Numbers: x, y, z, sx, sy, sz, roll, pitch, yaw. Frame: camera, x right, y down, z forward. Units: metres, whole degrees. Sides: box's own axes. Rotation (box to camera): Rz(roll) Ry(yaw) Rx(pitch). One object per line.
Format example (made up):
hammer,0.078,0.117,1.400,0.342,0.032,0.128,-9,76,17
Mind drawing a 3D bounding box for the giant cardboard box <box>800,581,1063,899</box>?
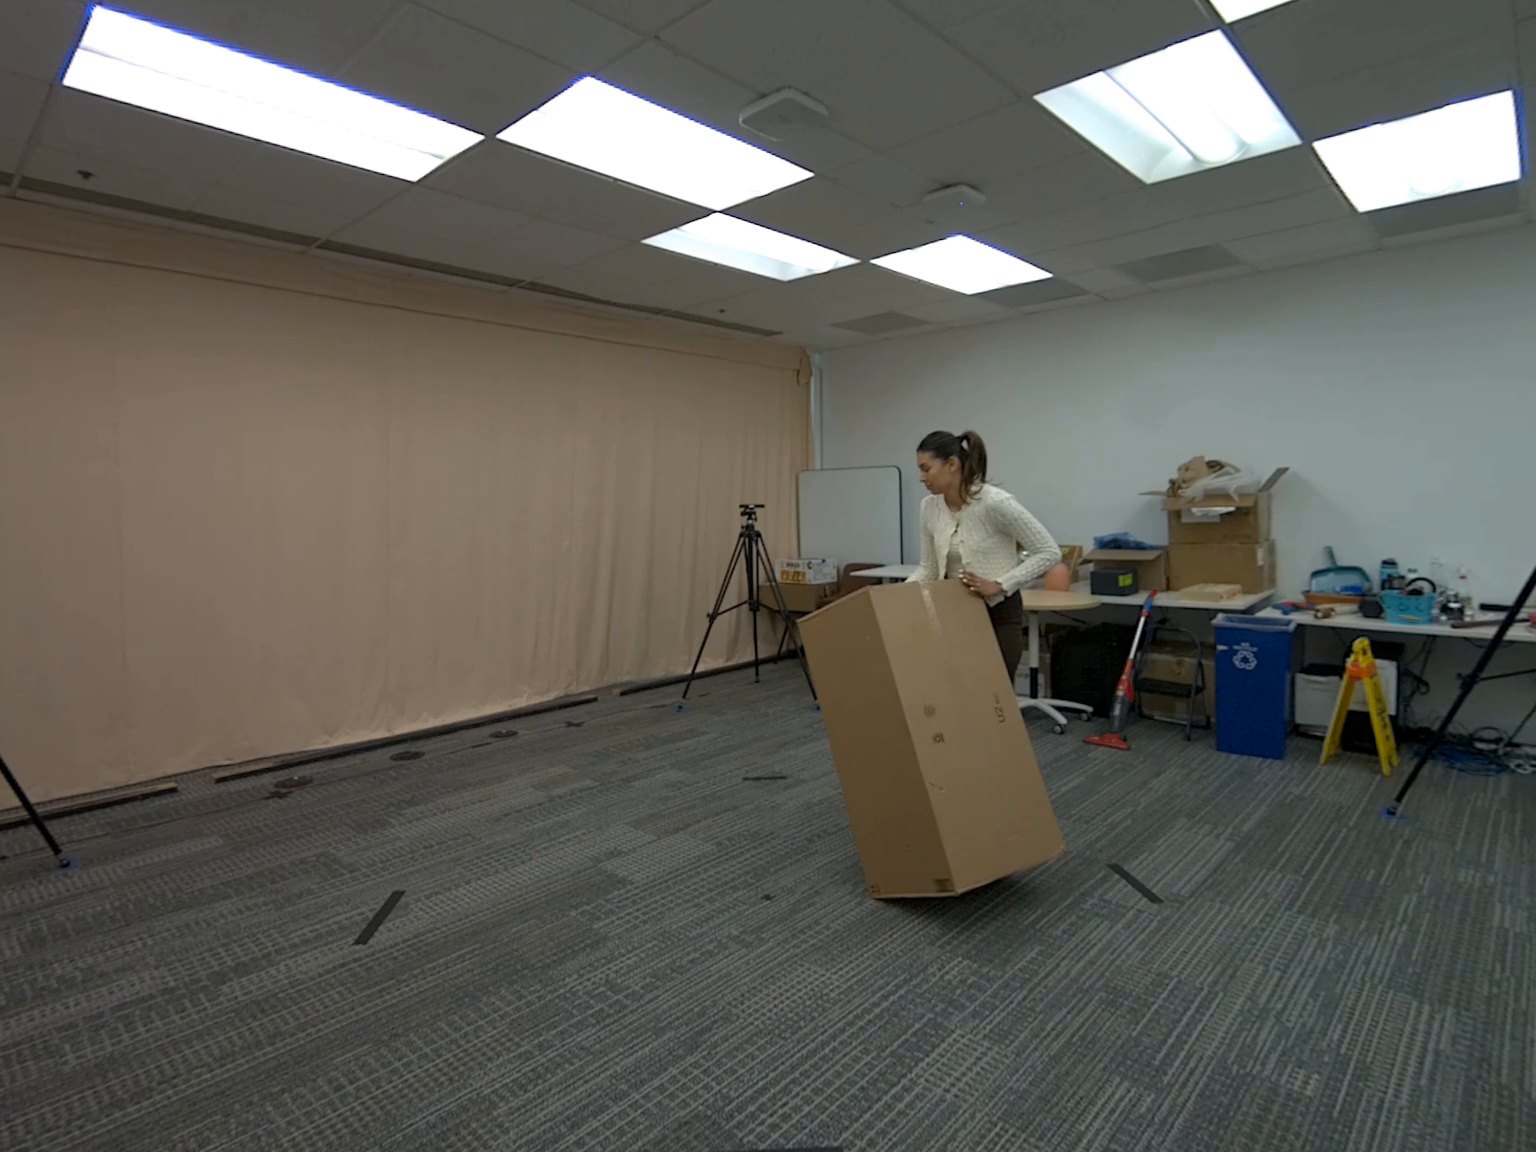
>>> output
giant cardboard box,0.579,0.569,3.094,0.561,1.039,0.433,-4,-19,-35
